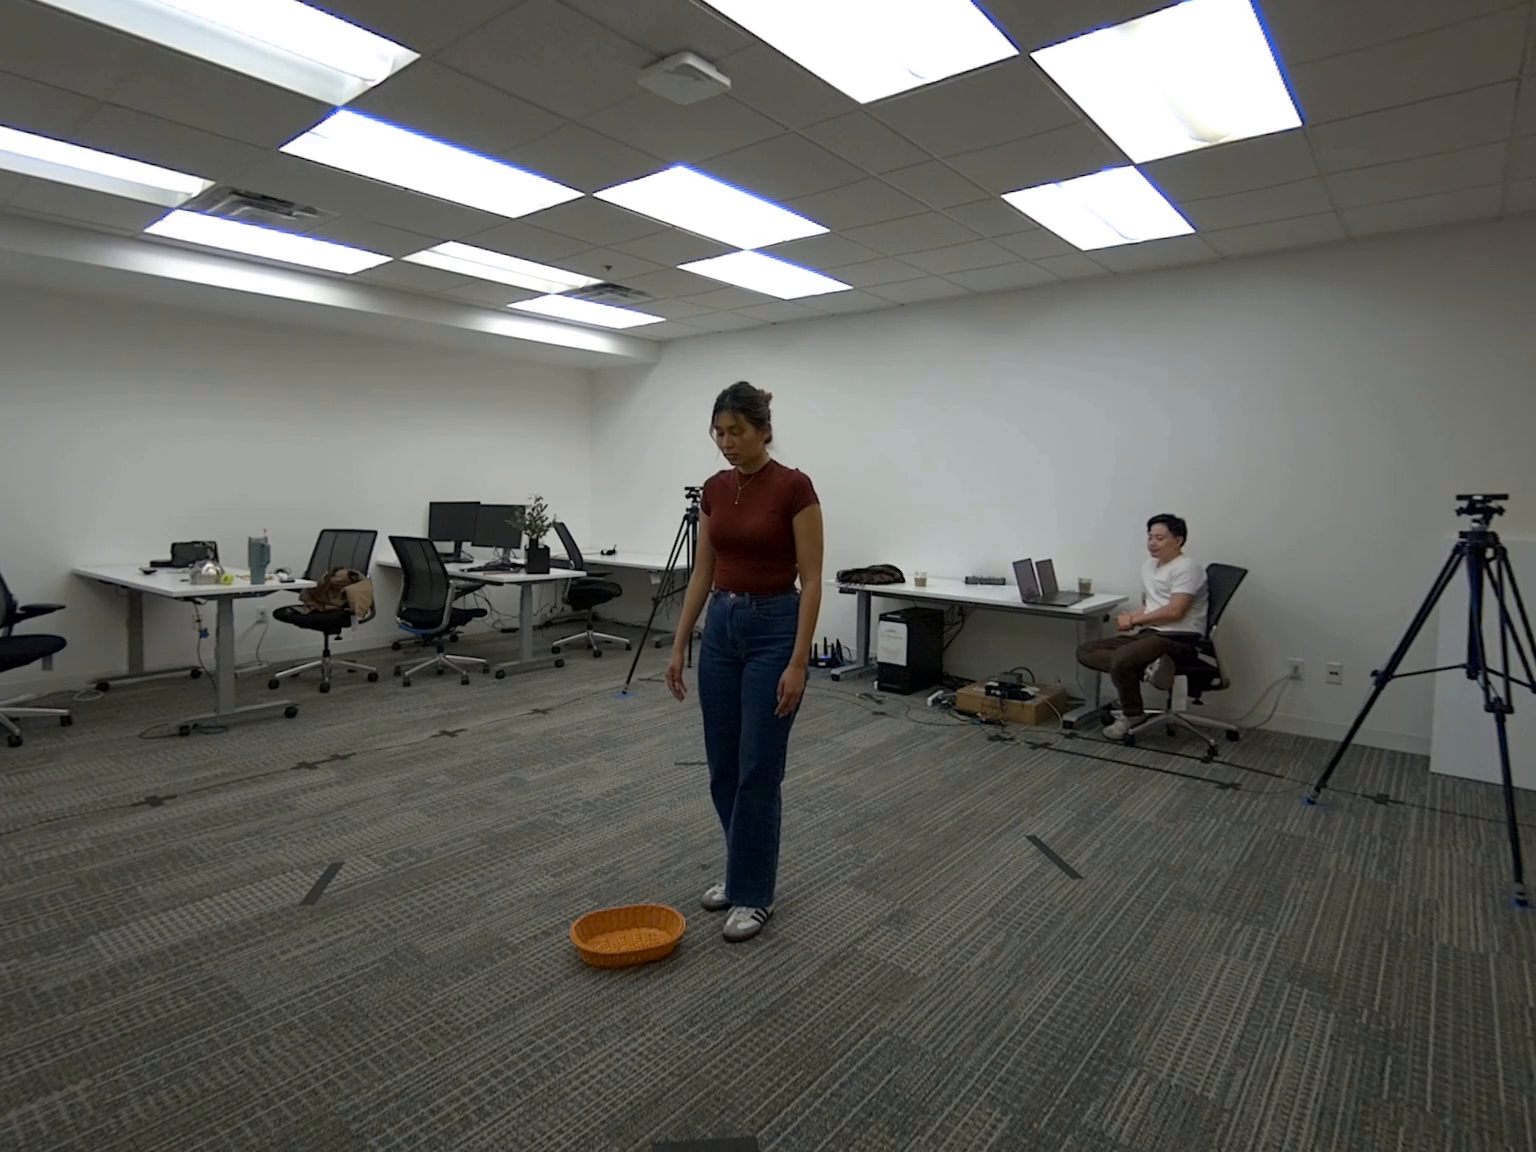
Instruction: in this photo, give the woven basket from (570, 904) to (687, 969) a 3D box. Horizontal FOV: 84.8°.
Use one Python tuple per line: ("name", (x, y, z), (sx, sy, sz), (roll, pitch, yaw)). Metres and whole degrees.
("woven basket", (-0.424, 1.078, 2.549), (0.344, 0.073, 0.258), (-1, 7, -18))
